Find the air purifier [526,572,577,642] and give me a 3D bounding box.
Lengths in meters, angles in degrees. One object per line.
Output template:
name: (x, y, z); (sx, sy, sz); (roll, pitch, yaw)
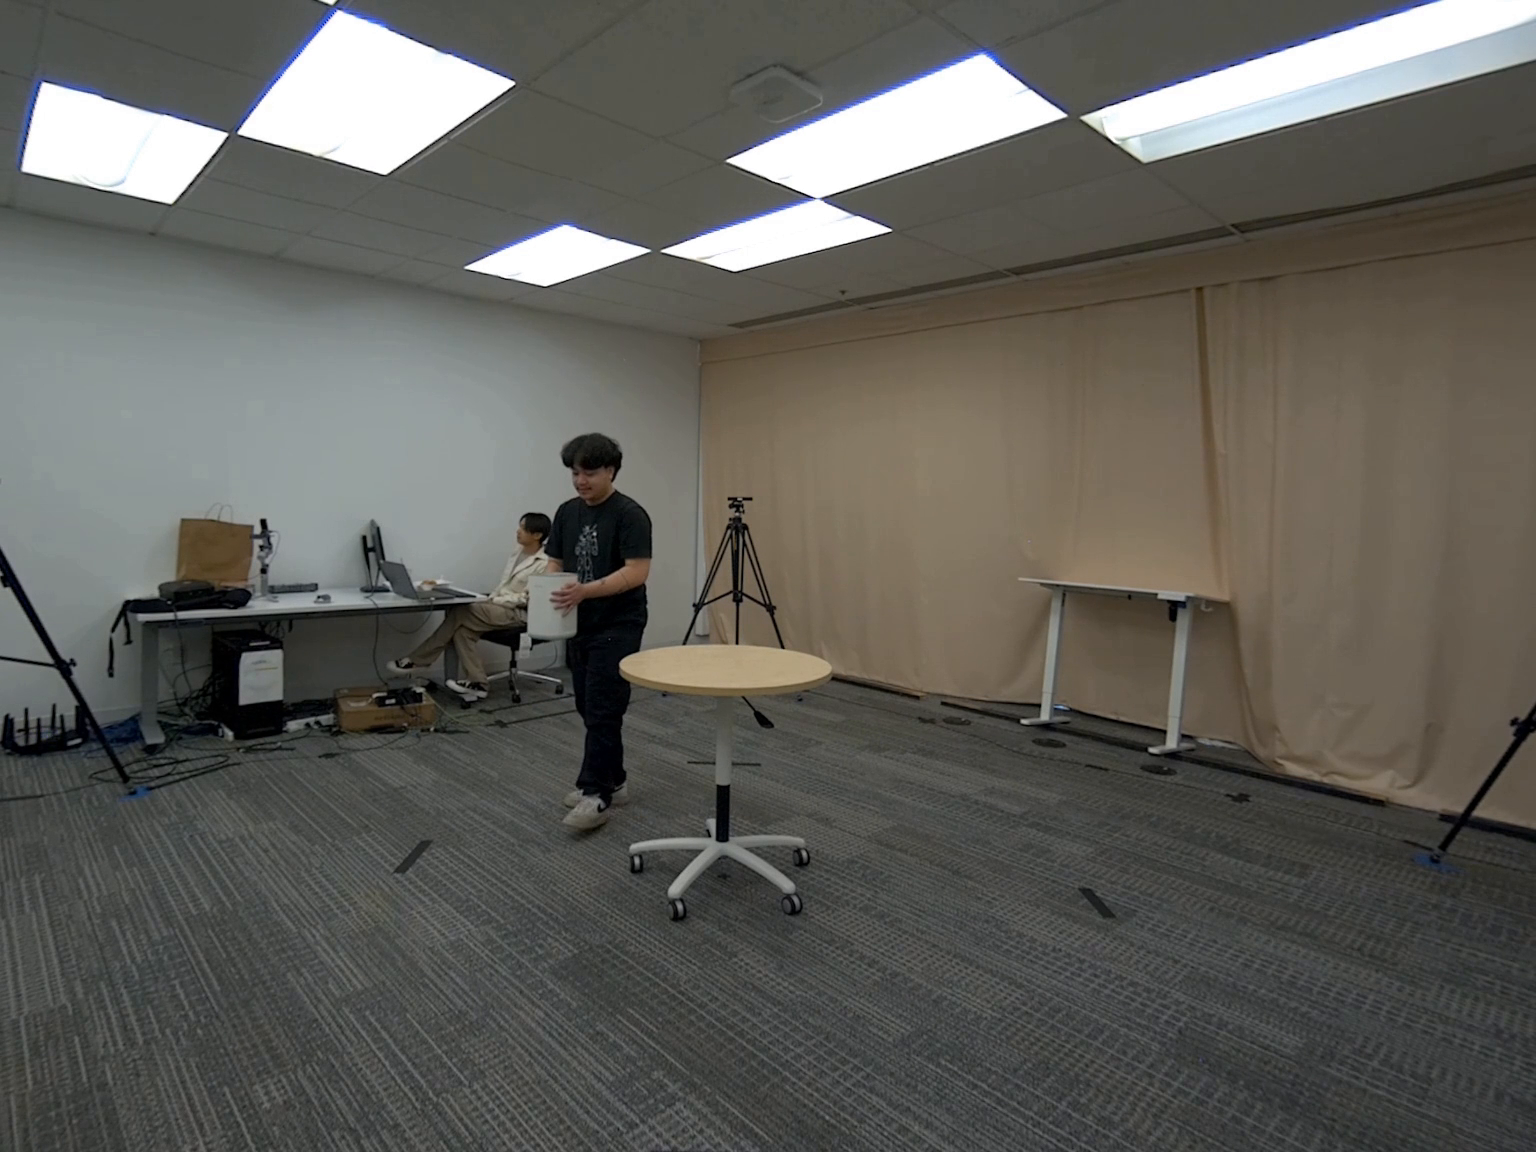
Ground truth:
air purifier: (-0.907, 0.127, 3.460); (0.175, 0.265, 0.168); (4, 2, 36)
